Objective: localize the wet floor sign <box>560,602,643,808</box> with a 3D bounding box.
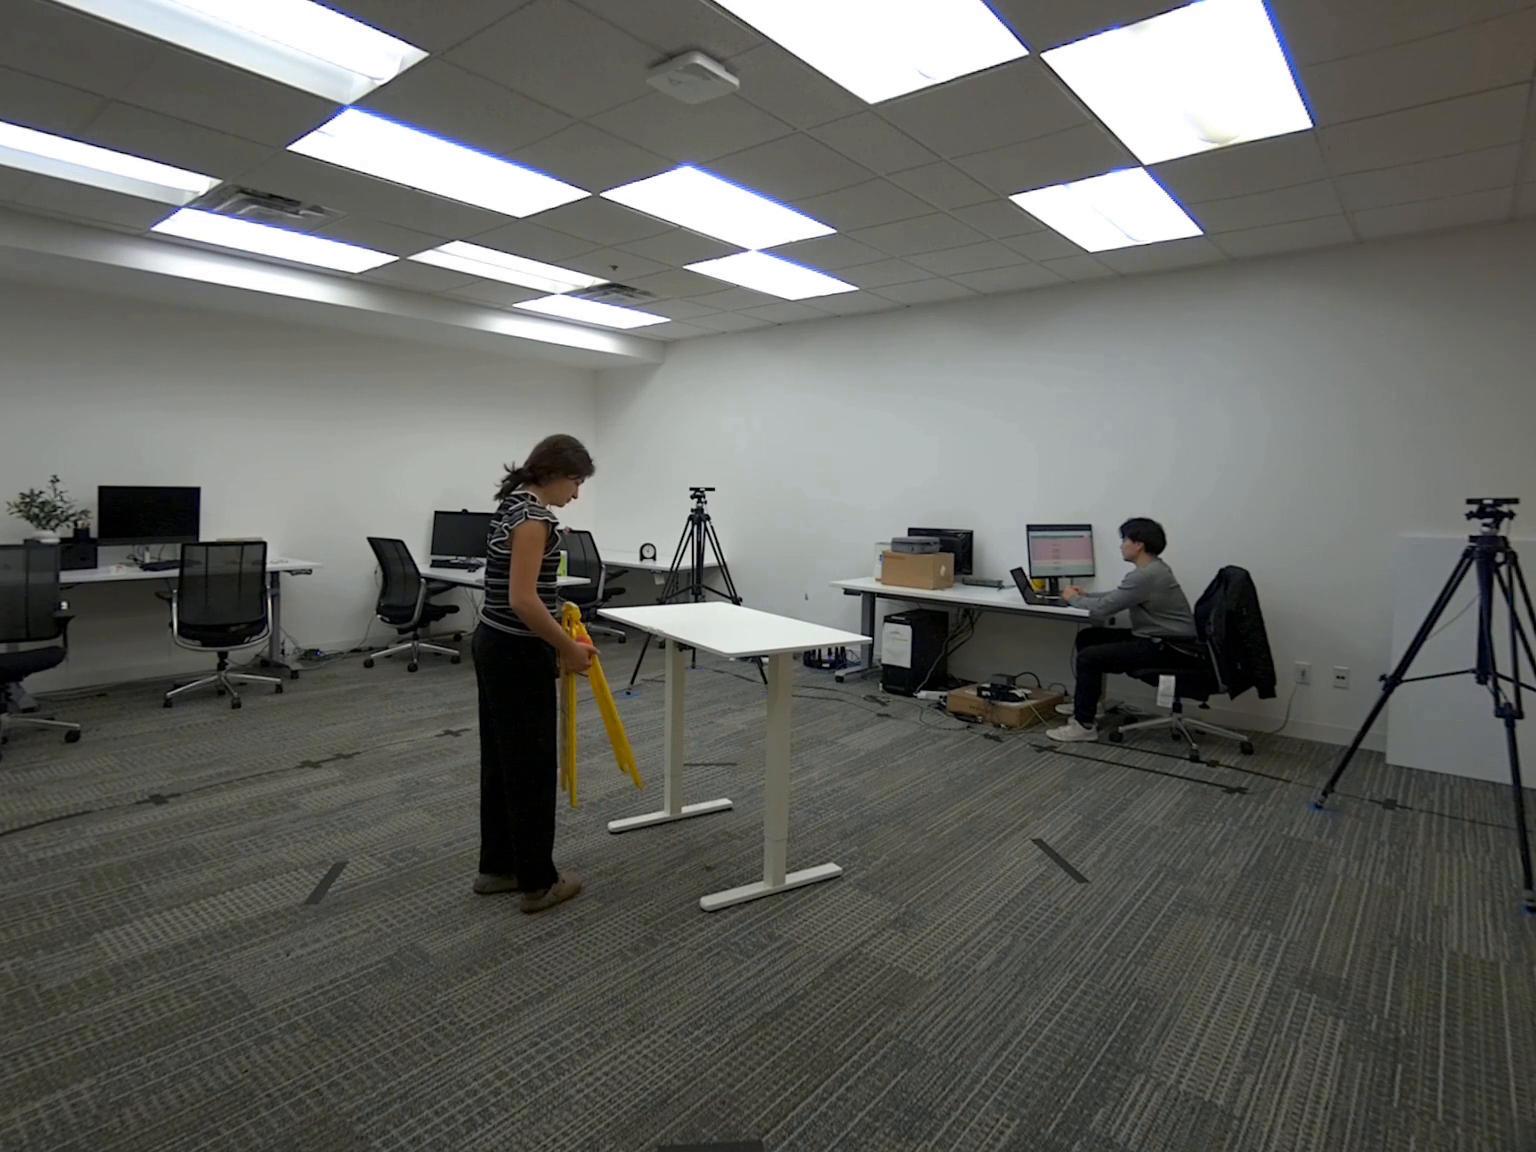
[{"bbox_3d":[-0.653,0.424,2.935,0.284,0.643,0.289,-9,4,-23],"label":"wet floor sign"}]
